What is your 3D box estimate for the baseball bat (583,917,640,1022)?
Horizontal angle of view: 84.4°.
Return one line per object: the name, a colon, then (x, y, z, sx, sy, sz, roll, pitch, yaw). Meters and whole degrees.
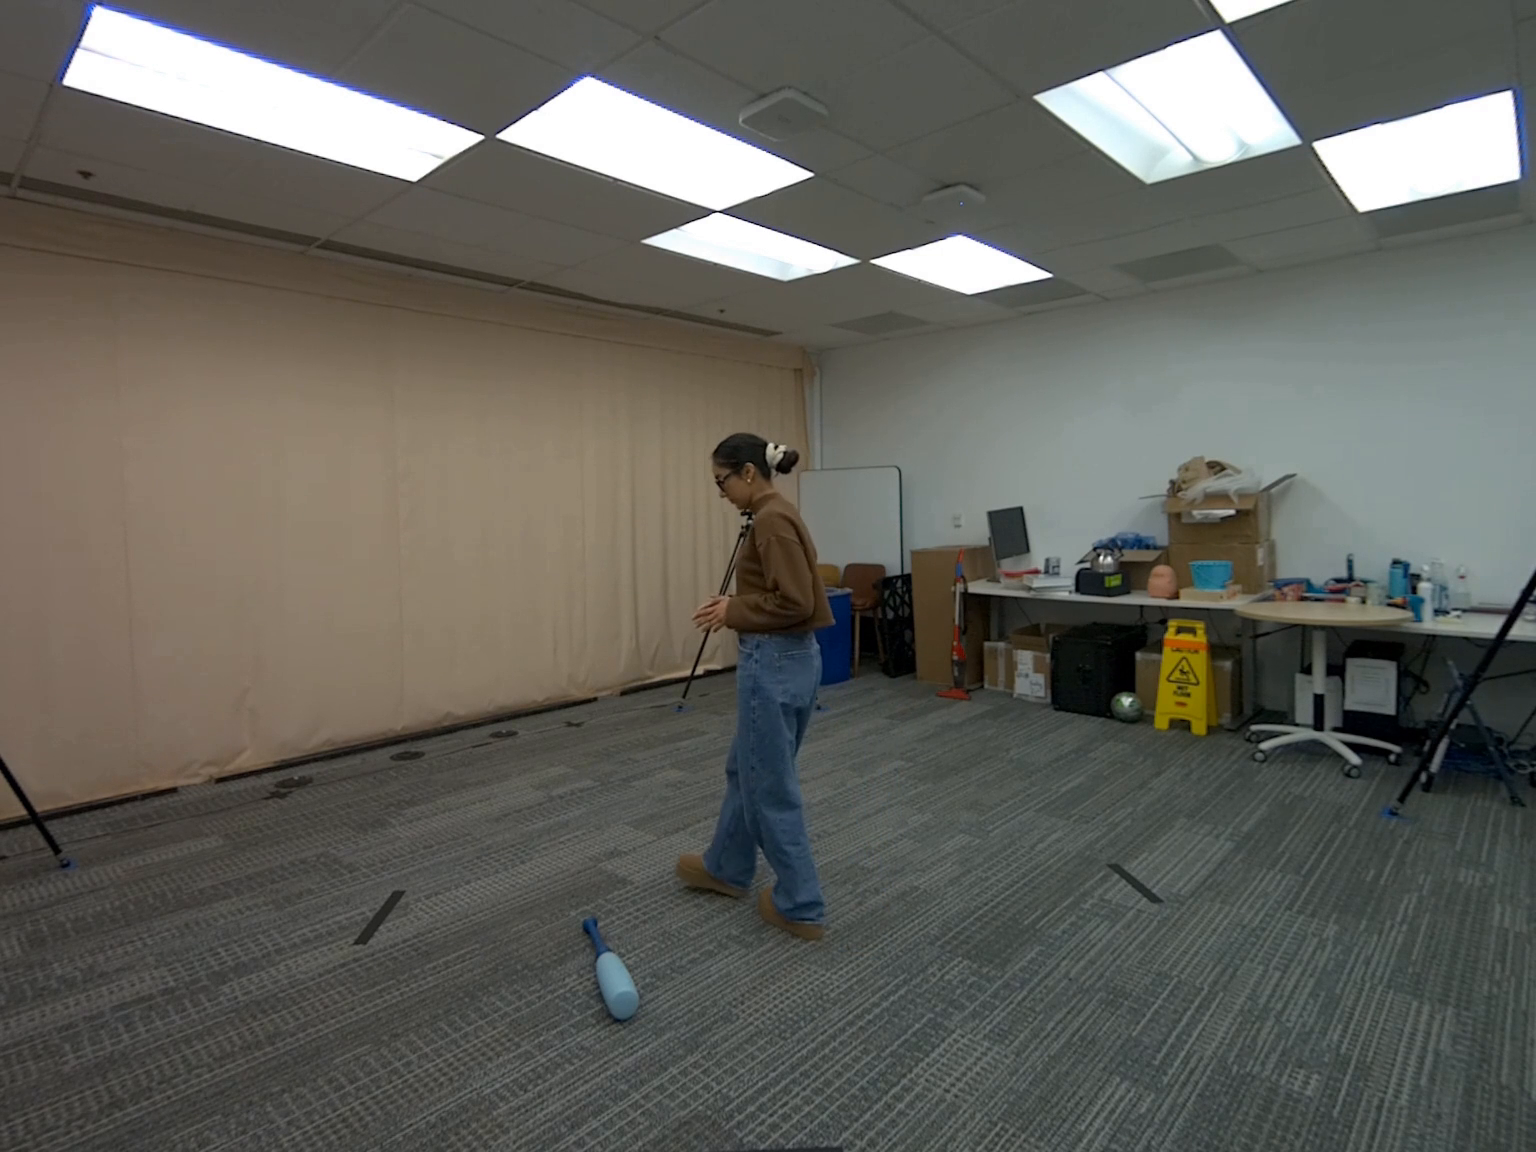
baseball bat: (-0.485, 1.156, 2.517, 0.087, 0.089, 0.554, -2, 1, -21)
